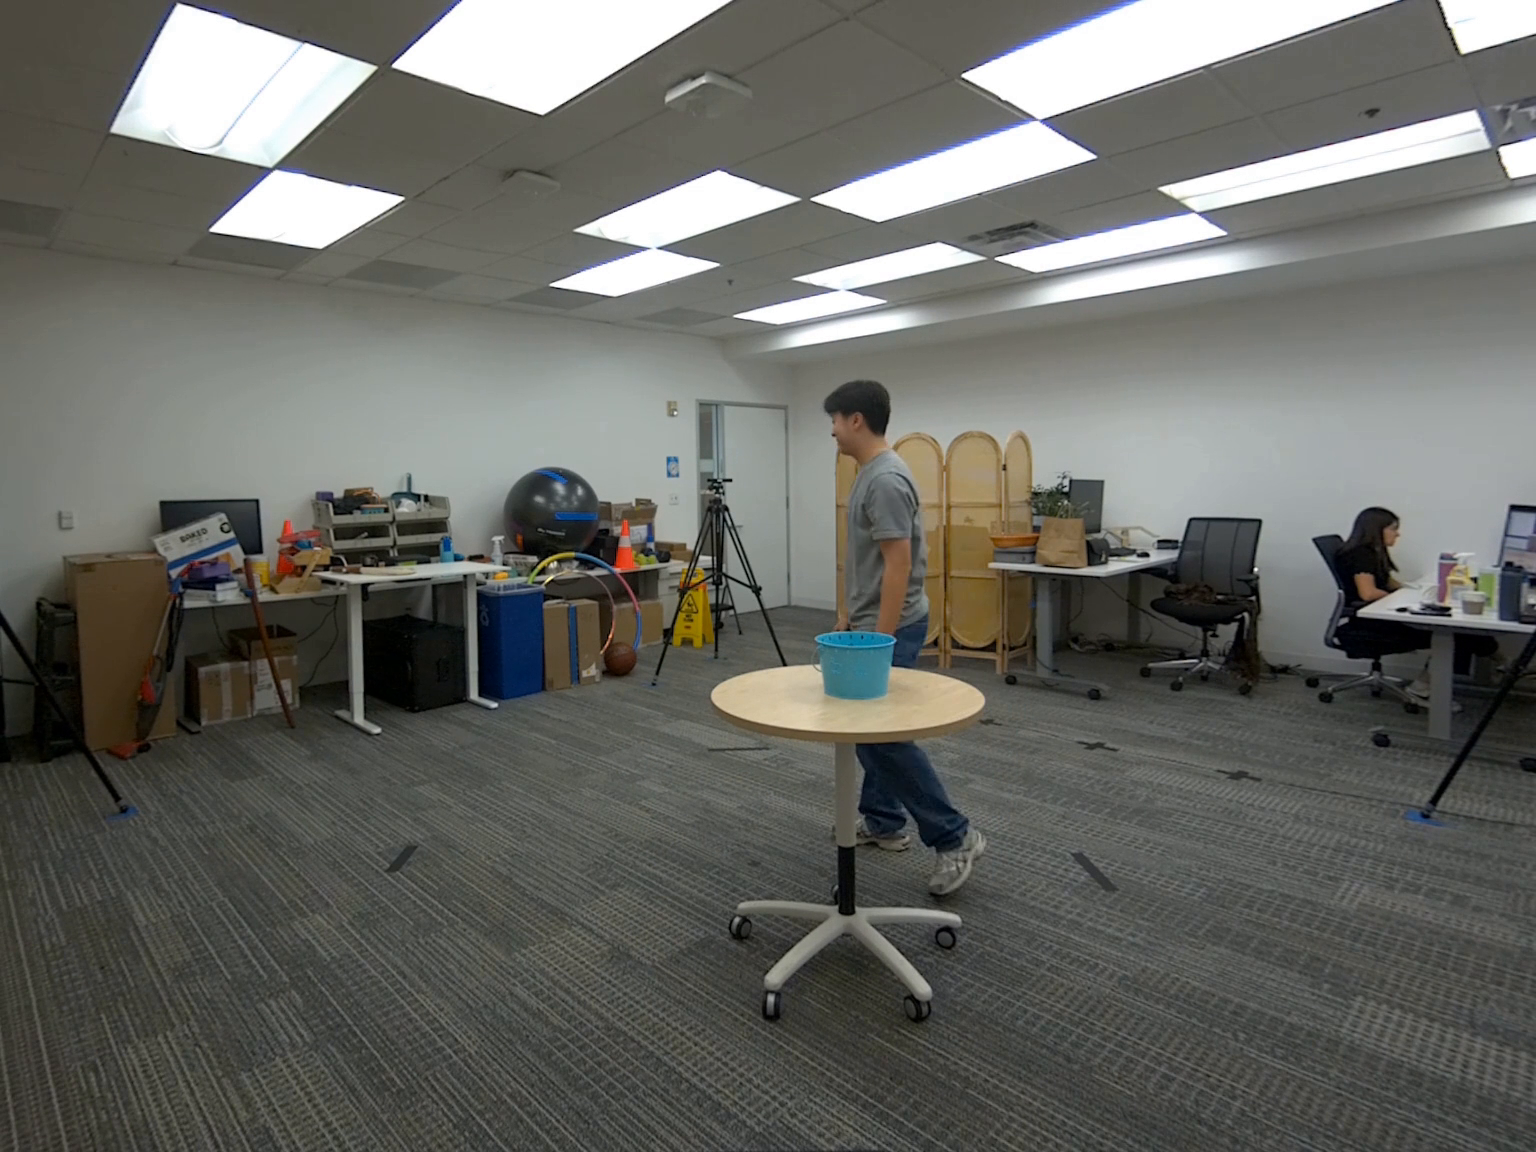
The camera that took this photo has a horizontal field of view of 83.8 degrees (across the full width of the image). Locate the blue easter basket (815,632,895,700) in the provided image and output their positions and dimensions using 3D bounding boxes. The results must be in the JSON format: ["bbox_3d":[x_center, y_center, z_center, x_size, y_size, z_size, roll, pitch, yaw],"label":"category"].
[{"bbox_3d":[0.263,0.259,2.450,0.243,0.155,0.245,-1,6,-2],"label":"blue easter basket"}]
